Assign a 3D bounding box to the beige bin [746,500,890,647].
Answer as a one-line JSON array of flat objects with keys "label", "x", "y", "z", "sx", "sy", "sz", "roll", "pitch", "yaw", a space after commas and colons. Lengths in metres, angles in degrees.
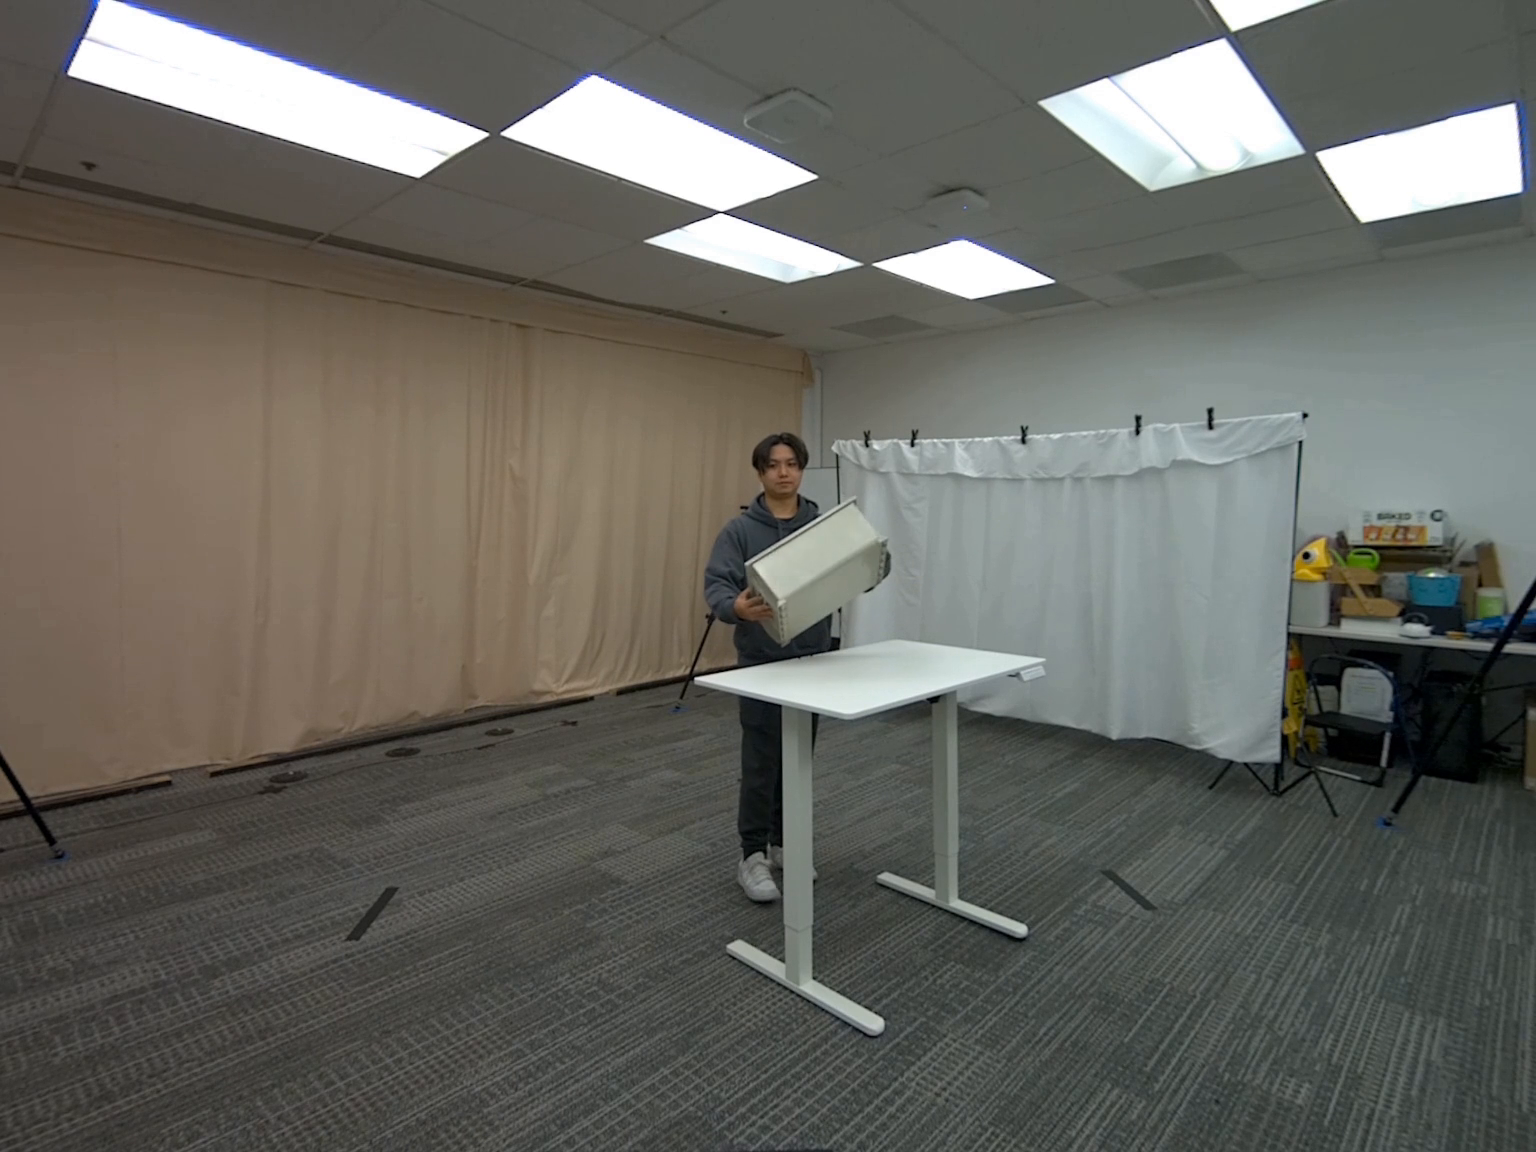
[{"label": "beige bin", "x": 0.156, "y": 0.001, "z": 2.757, "sx": 0.419, "sy": 0.194, "sz": 0.370, "roll": -30, "pitch": -26, "yaw": -11}]
